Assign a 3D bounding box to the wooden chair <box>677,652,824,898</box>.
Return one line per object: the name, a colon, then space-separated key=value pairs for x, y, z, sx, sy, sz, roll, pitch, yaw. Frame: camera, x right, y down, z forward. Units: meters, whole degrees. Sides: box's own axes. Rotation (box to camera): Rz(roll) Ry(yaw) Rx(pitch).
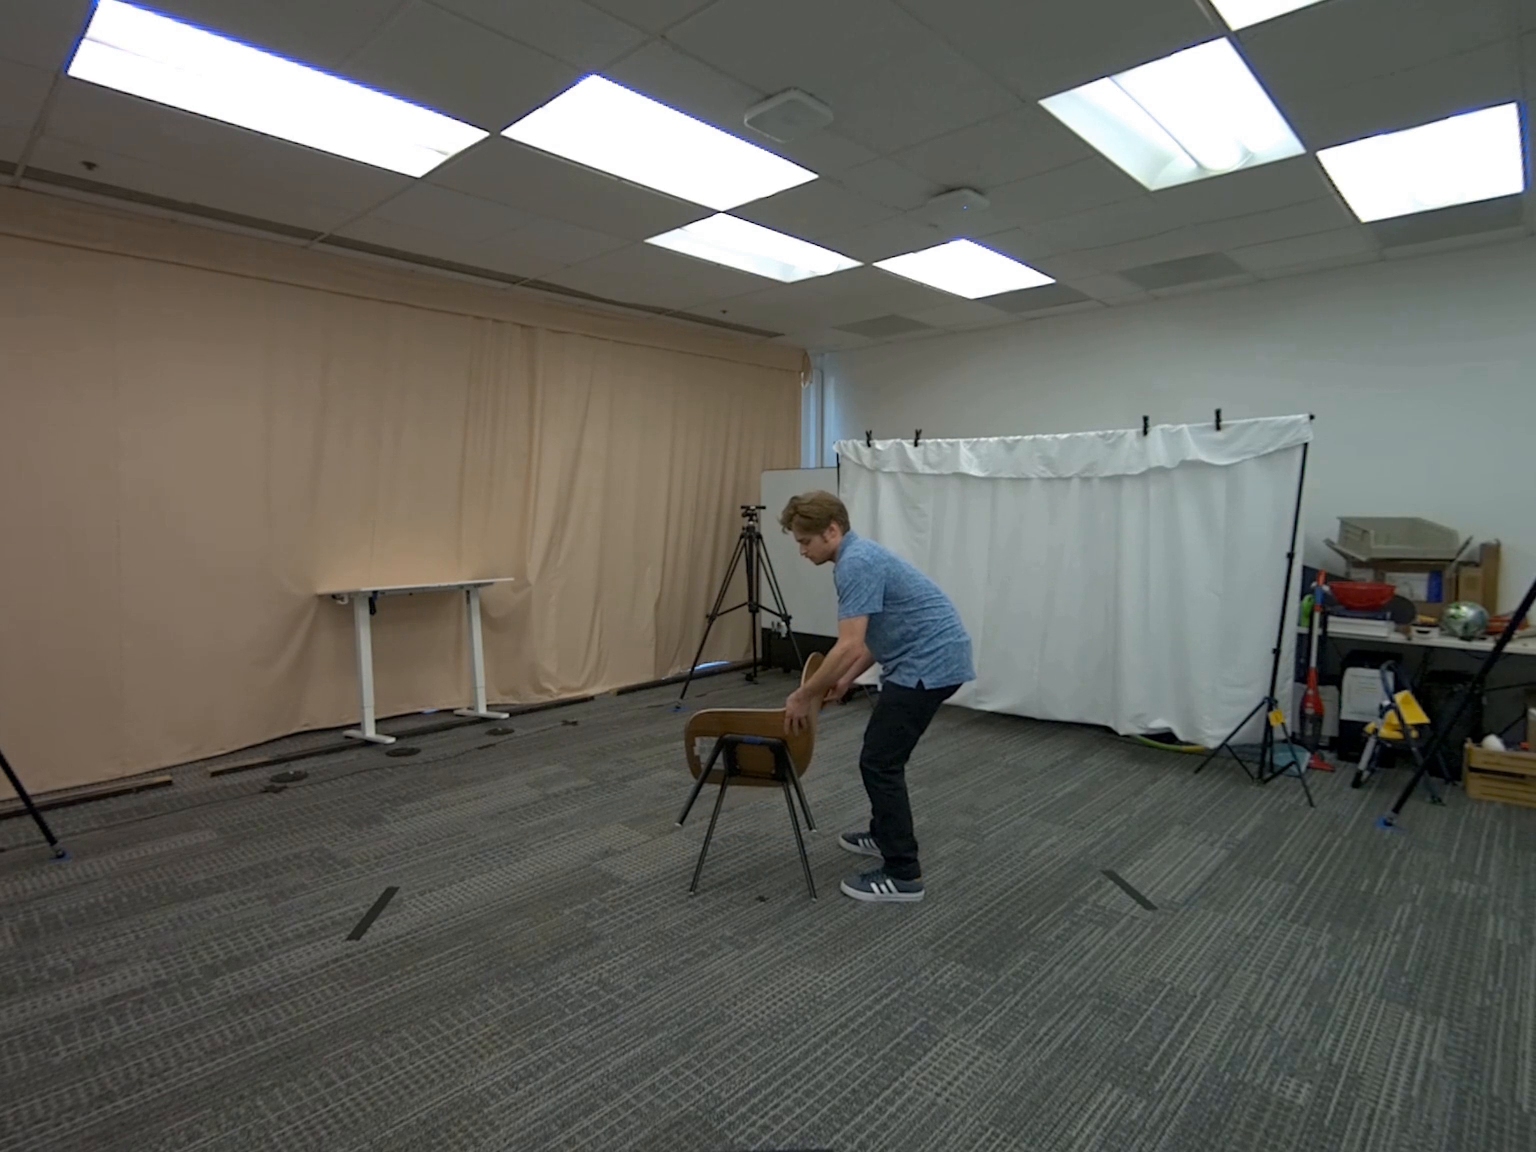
wooden chair: x=-0.046 y=0.700 z=3.165 sx=0.529 sy=0.468 sz=0.887 roll=3 pitch=42 yaw=8
